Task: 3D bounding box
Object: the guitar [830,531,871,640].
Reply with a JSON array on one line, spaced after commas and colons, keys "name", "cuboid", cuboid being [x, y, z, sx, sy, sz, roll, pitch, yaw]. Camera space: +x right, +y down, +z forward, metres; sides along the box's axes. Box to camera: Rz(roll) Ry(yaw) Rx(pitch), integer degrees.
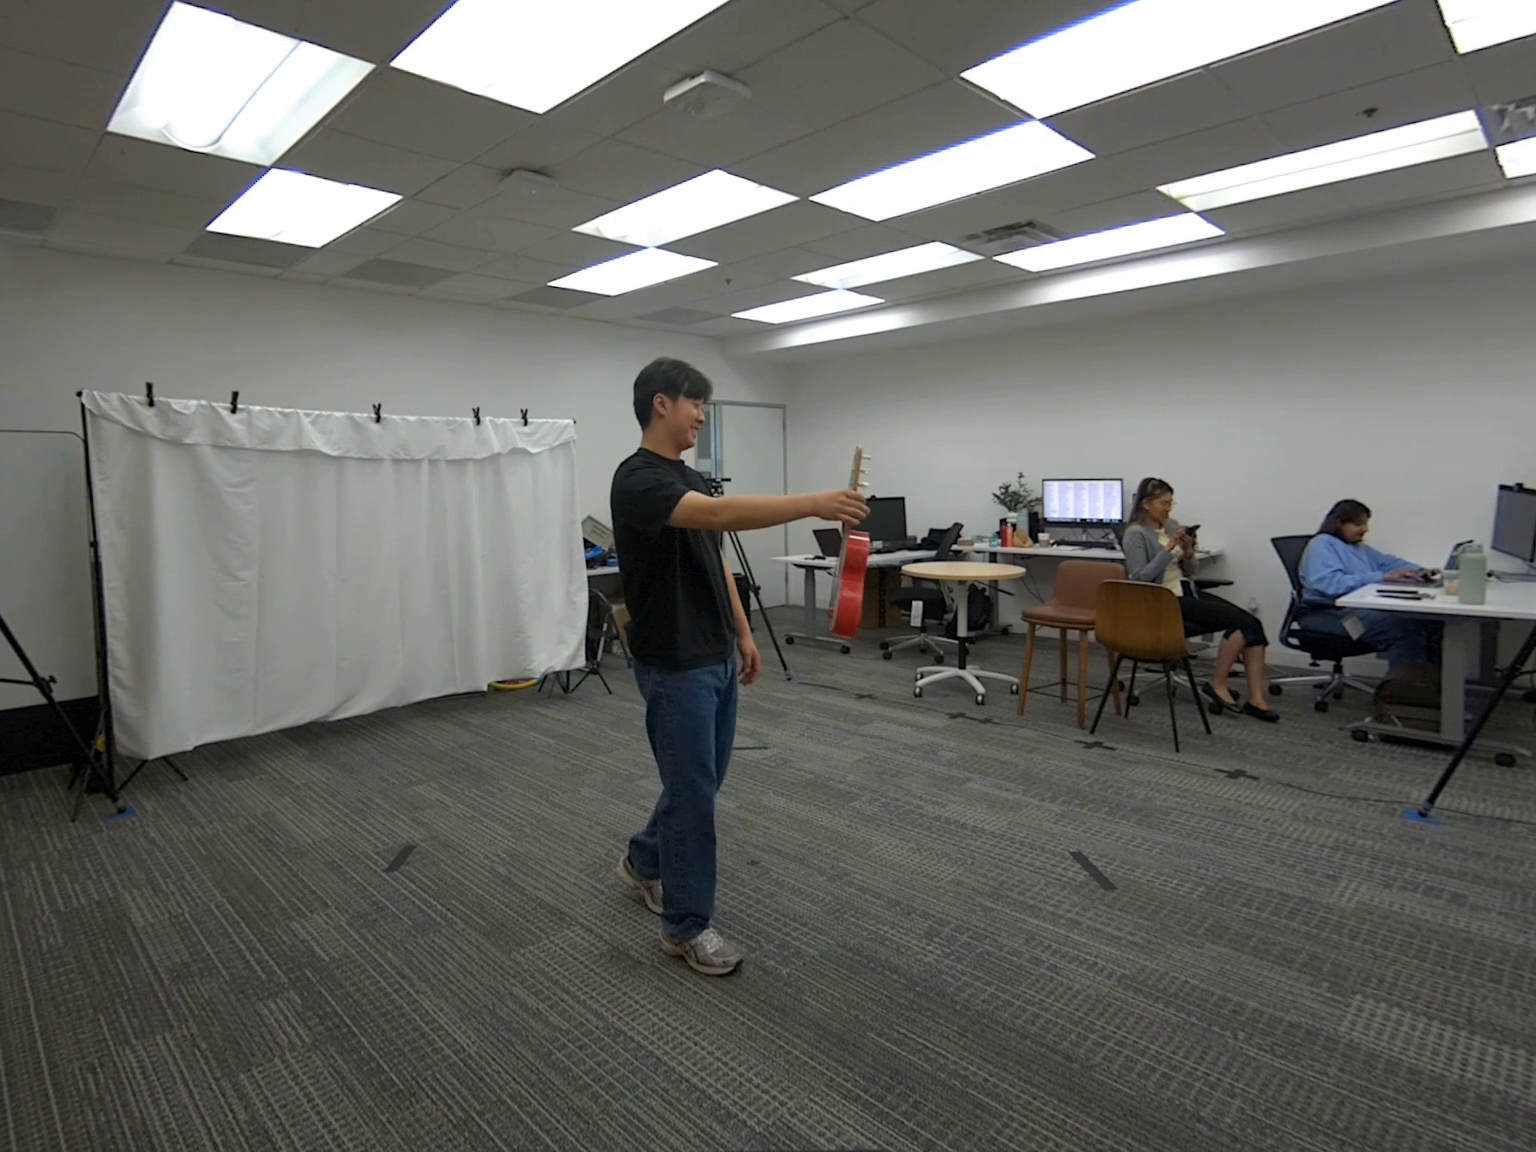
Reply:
[{"name": "guitar", "cuboid": [0.225, -0.078, 2.205, 0.071, 0.495, 0.194, 9, 8, 0]}]
